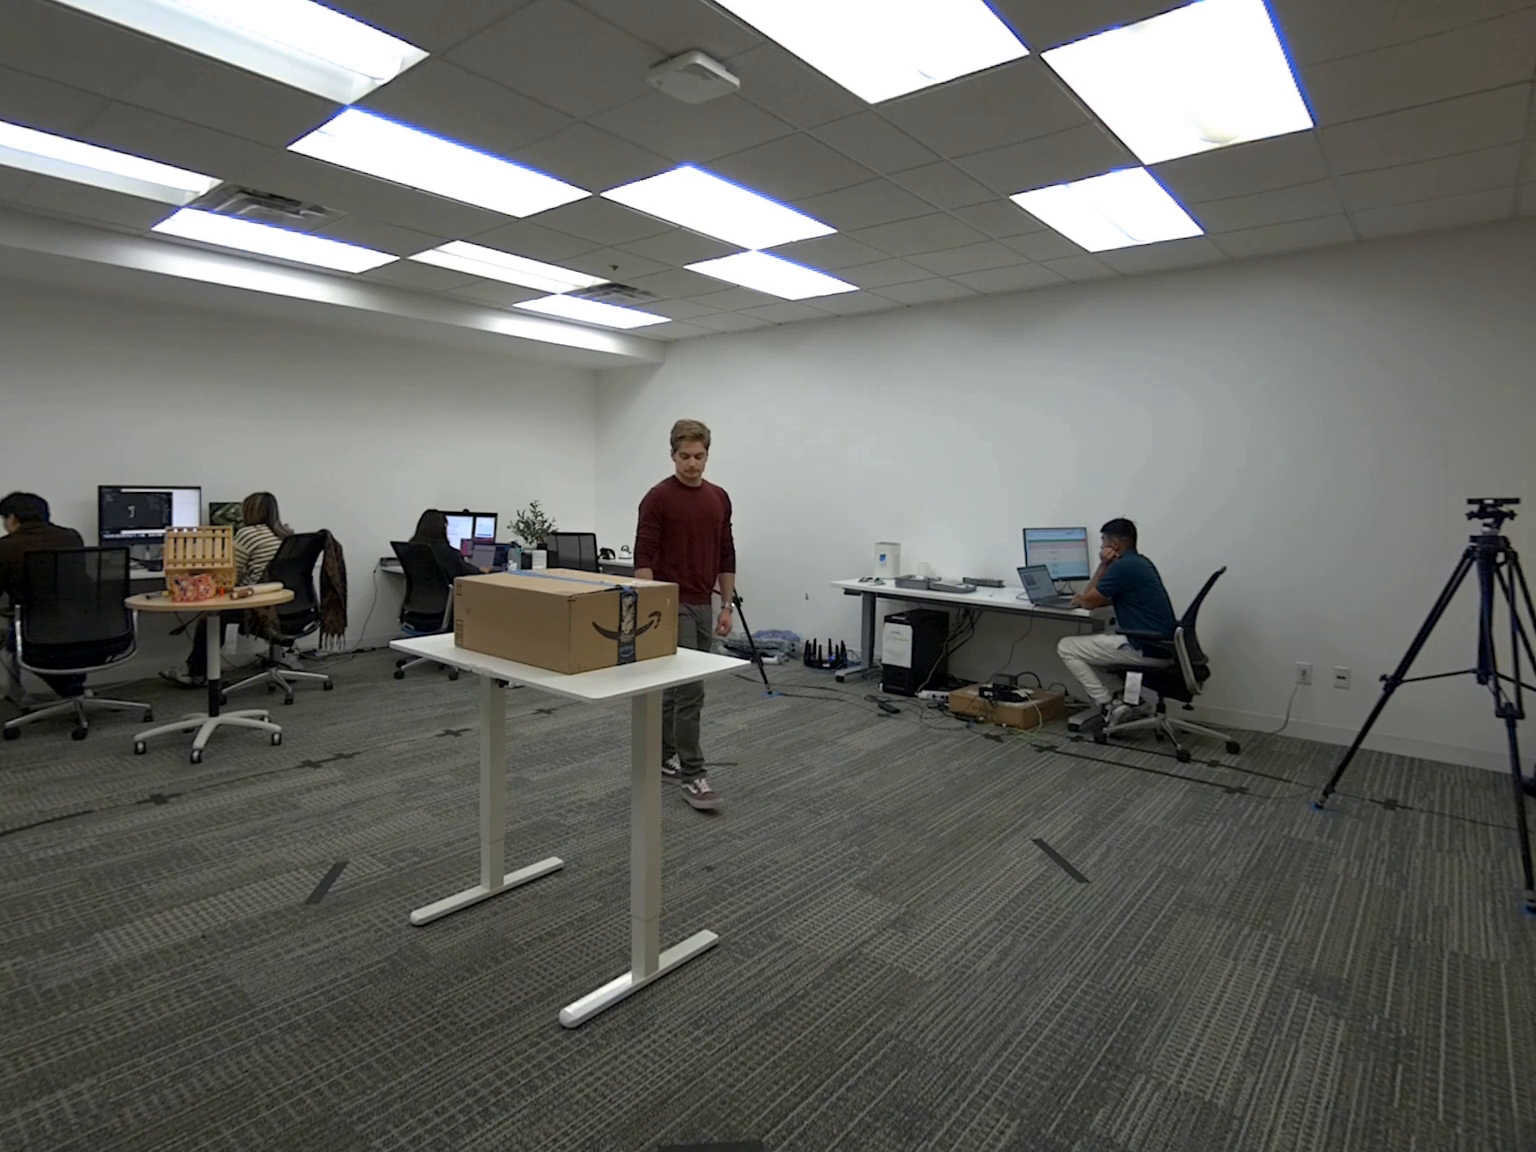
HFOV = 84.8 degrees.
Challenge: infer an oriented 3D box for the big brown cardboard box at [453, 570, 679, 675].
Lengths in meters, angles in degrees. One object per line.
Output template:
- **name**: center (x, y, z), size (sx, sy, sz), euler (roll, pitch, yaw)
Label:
- **big brown cardboard box**: center (-0.628, 0.118, 2.602), size (0.609, 0.232, 0.405), euler (5, 7, 39)
